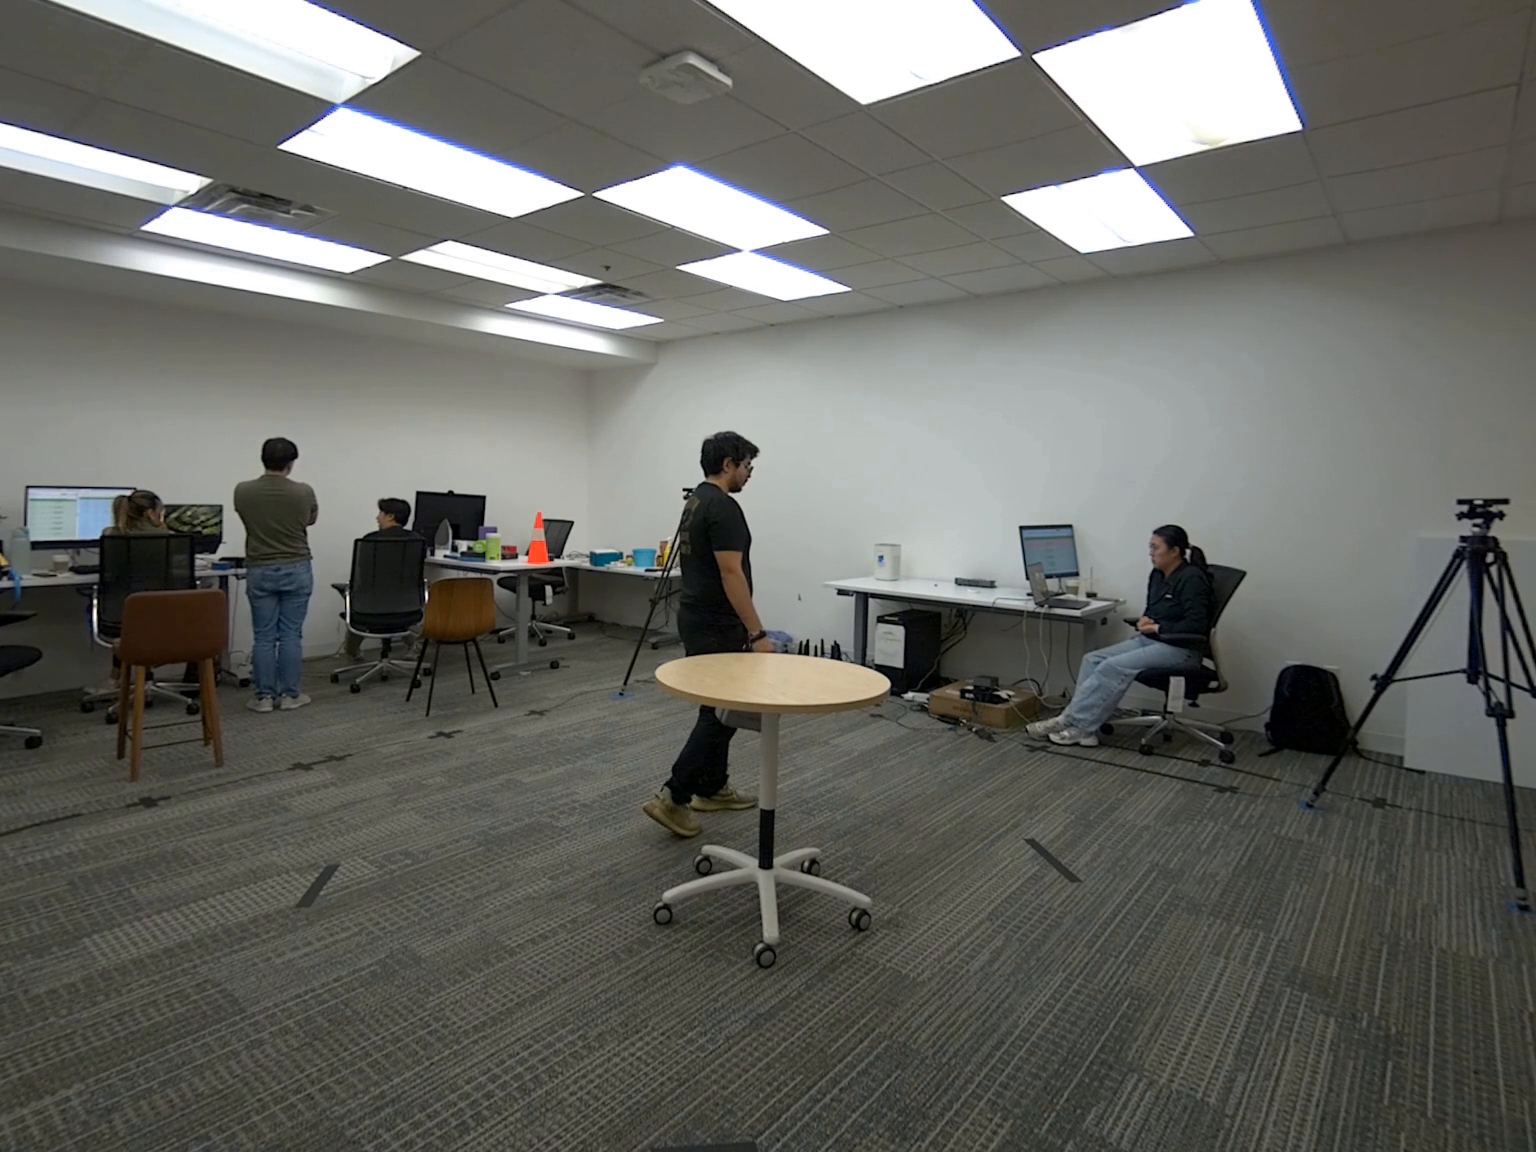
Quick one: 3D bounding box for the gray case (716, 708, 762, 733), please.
[{"bbox_3d":[-0.063,0.463,3.338,0.249,0.260,0.108,17,2,-29],"label":"gray case"}]
